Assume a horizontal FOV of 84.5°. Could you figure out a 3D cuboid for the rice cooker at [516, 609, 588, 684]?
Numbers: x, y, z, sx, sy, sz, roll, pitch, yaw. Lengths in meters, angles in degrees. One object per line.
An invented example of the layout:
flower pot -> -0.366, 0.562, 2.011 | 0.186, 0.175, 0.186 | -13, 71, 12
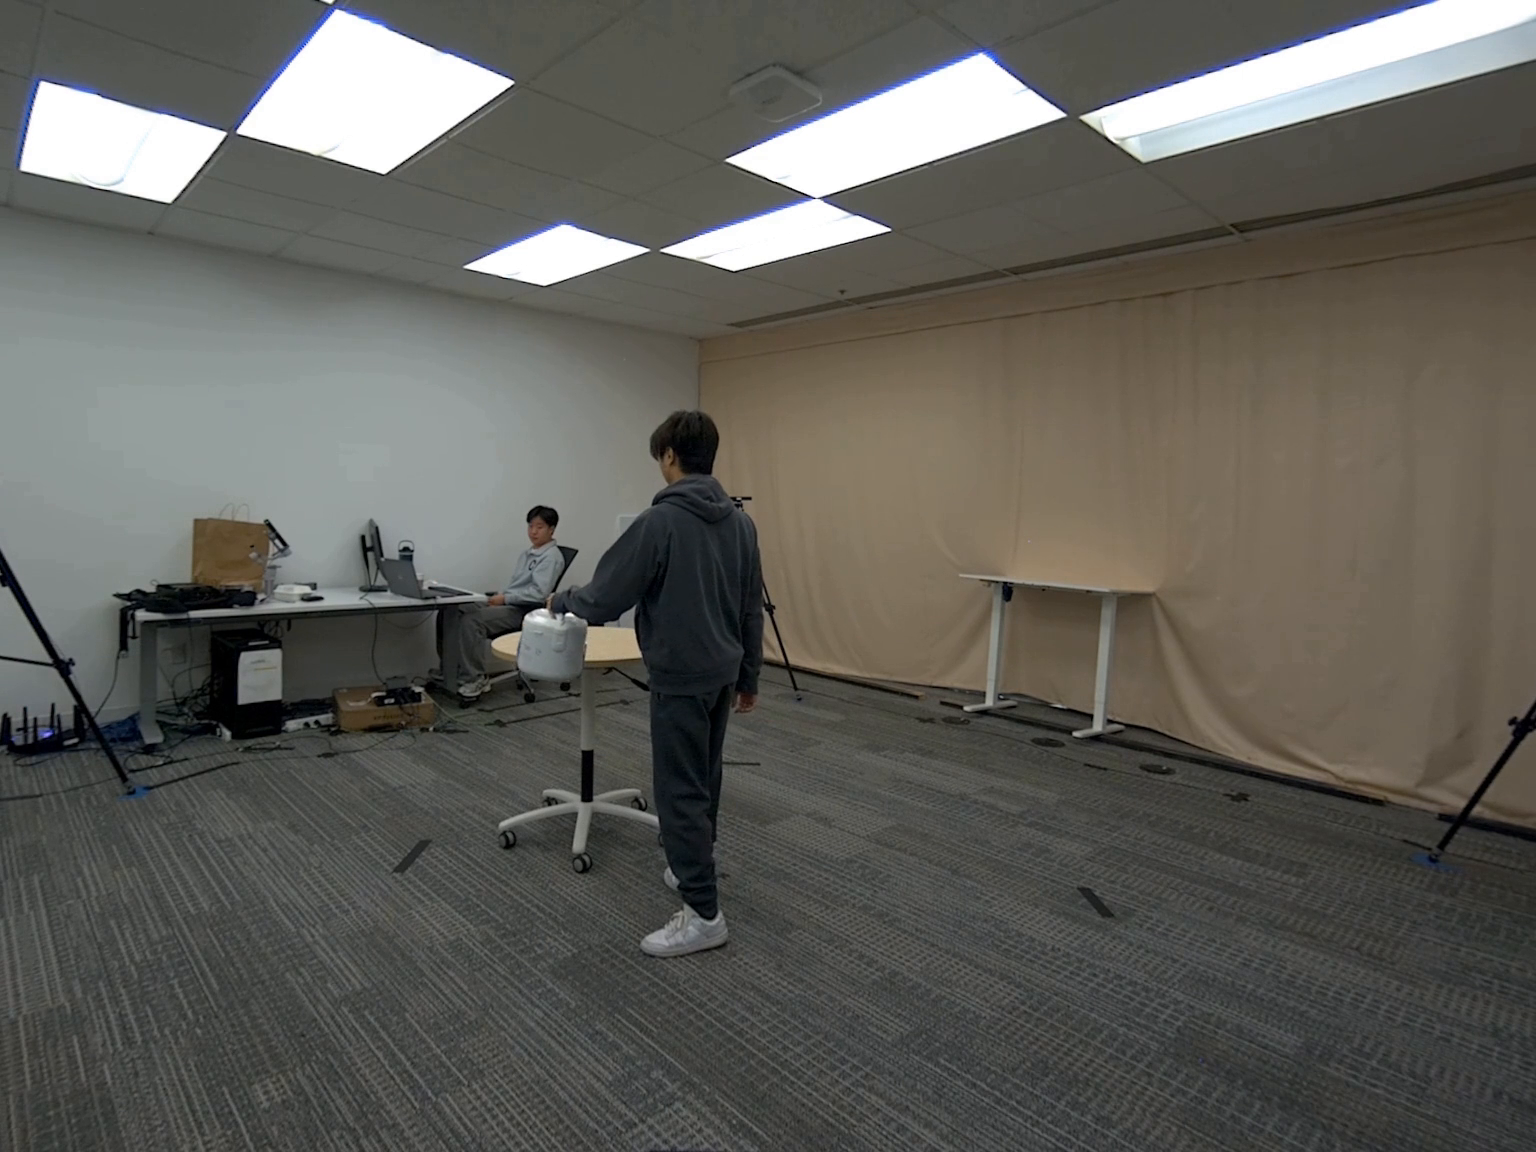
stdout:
rice cooker -> -0.711, 0.215, 2.803 | 0.214, 0.231, 0.225 | 5, 9, -22
